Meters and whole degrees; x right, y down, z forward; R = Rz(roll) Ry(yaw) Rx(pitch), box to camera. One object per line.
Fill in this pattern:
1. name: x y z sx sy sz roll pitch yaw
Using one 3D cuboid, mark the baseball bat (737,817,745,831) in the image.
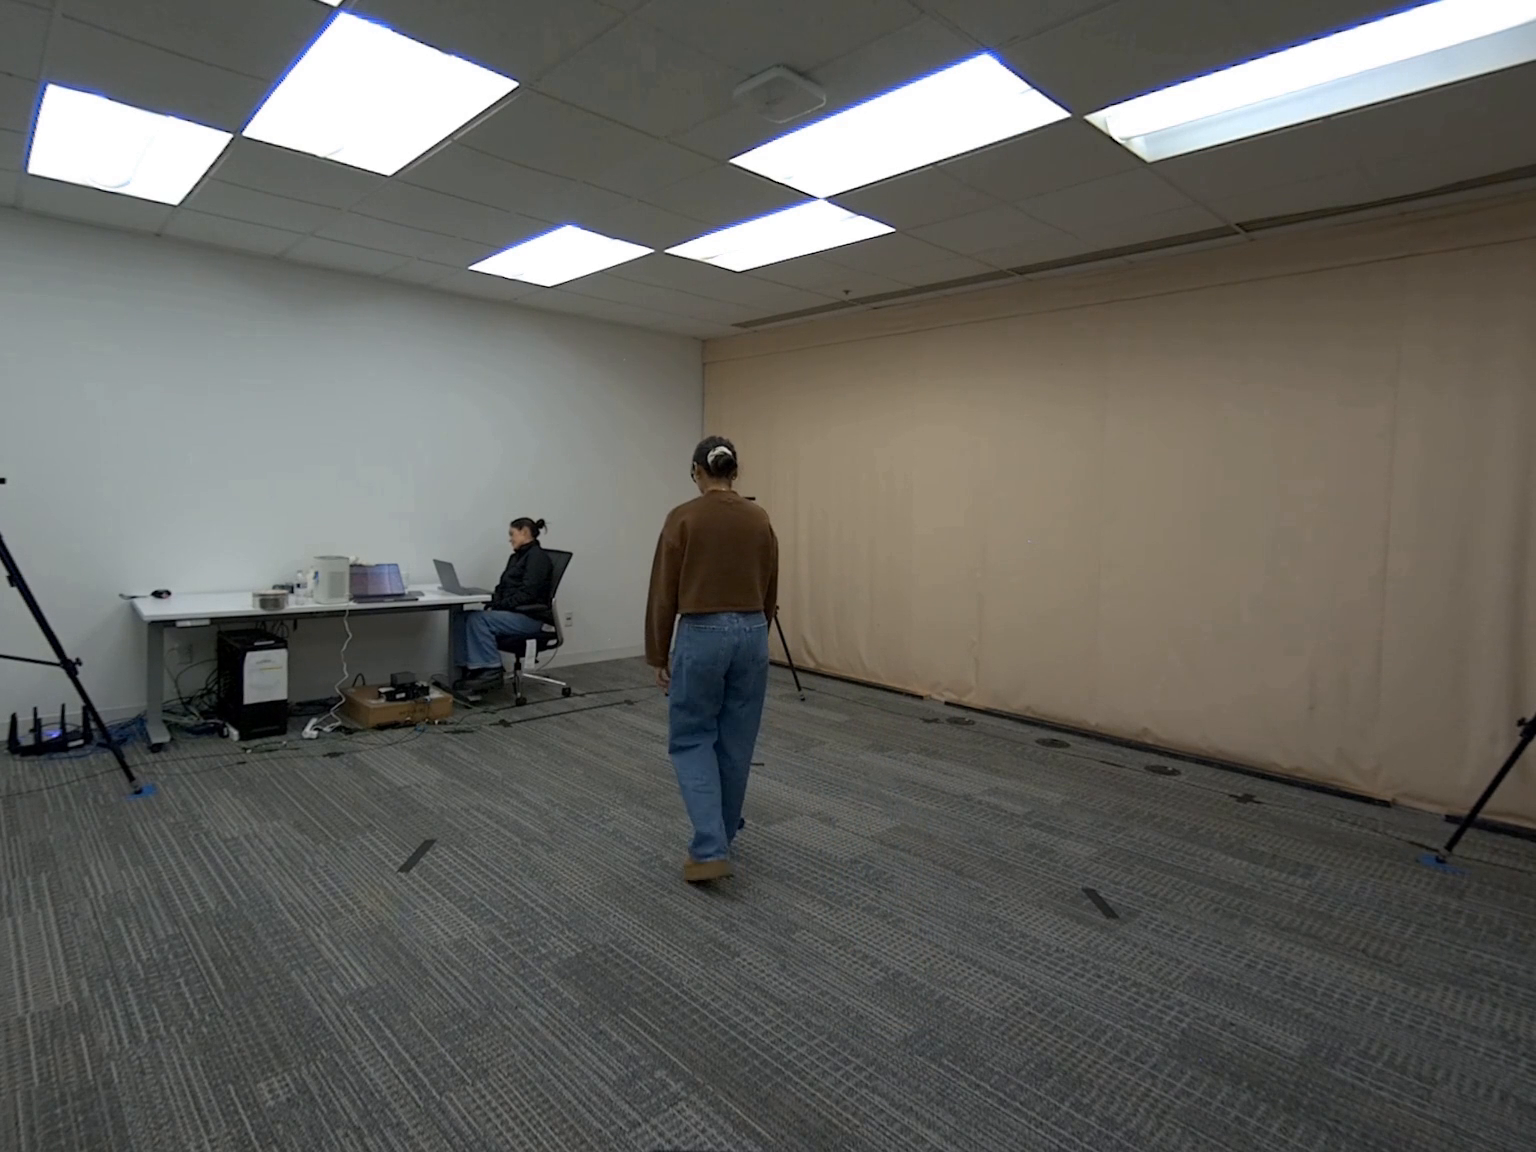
1. baseball bat: -0.256 1.017 3.791 0.087 0.088 0.556 -1 9 -29
